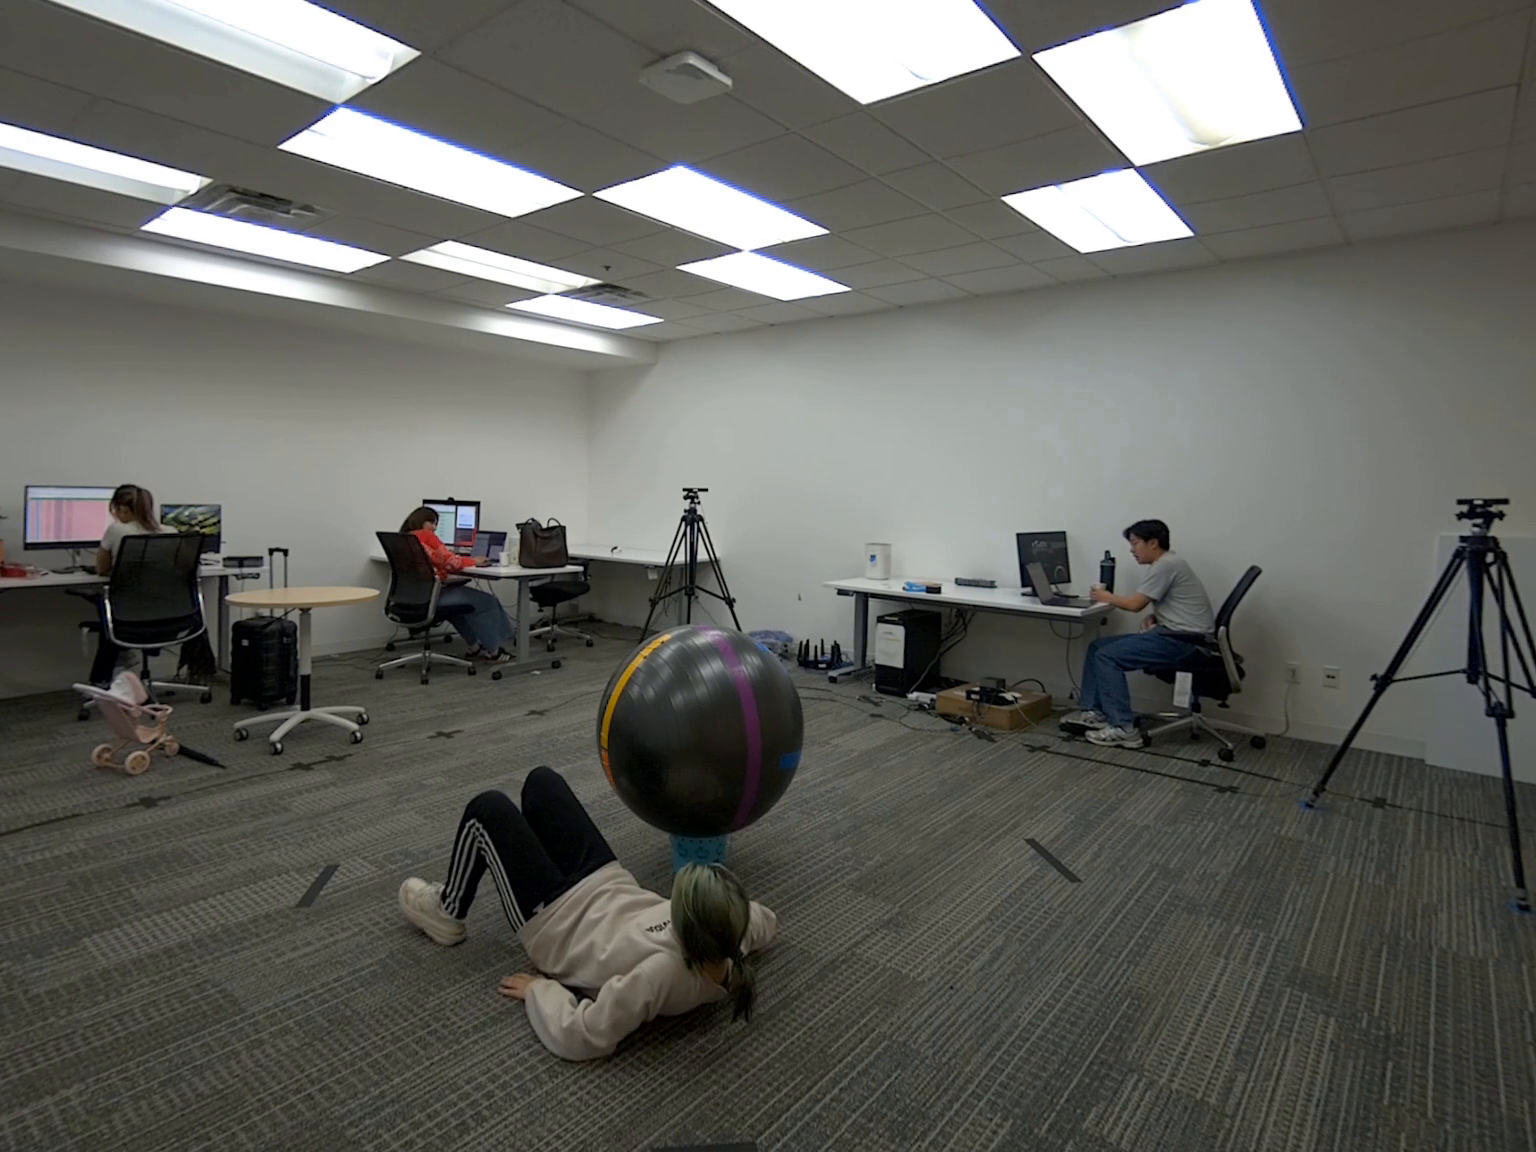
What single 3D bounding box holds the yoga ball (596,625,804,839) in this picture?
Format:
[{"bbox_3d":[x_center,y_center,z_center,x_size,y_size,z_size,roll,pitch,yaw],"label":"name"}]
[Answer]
[{"bbox_3d":[-0.257,0.555,3.111,0.757,0.755,0.762,1,4,-2],"label":"yoga ball"}]
